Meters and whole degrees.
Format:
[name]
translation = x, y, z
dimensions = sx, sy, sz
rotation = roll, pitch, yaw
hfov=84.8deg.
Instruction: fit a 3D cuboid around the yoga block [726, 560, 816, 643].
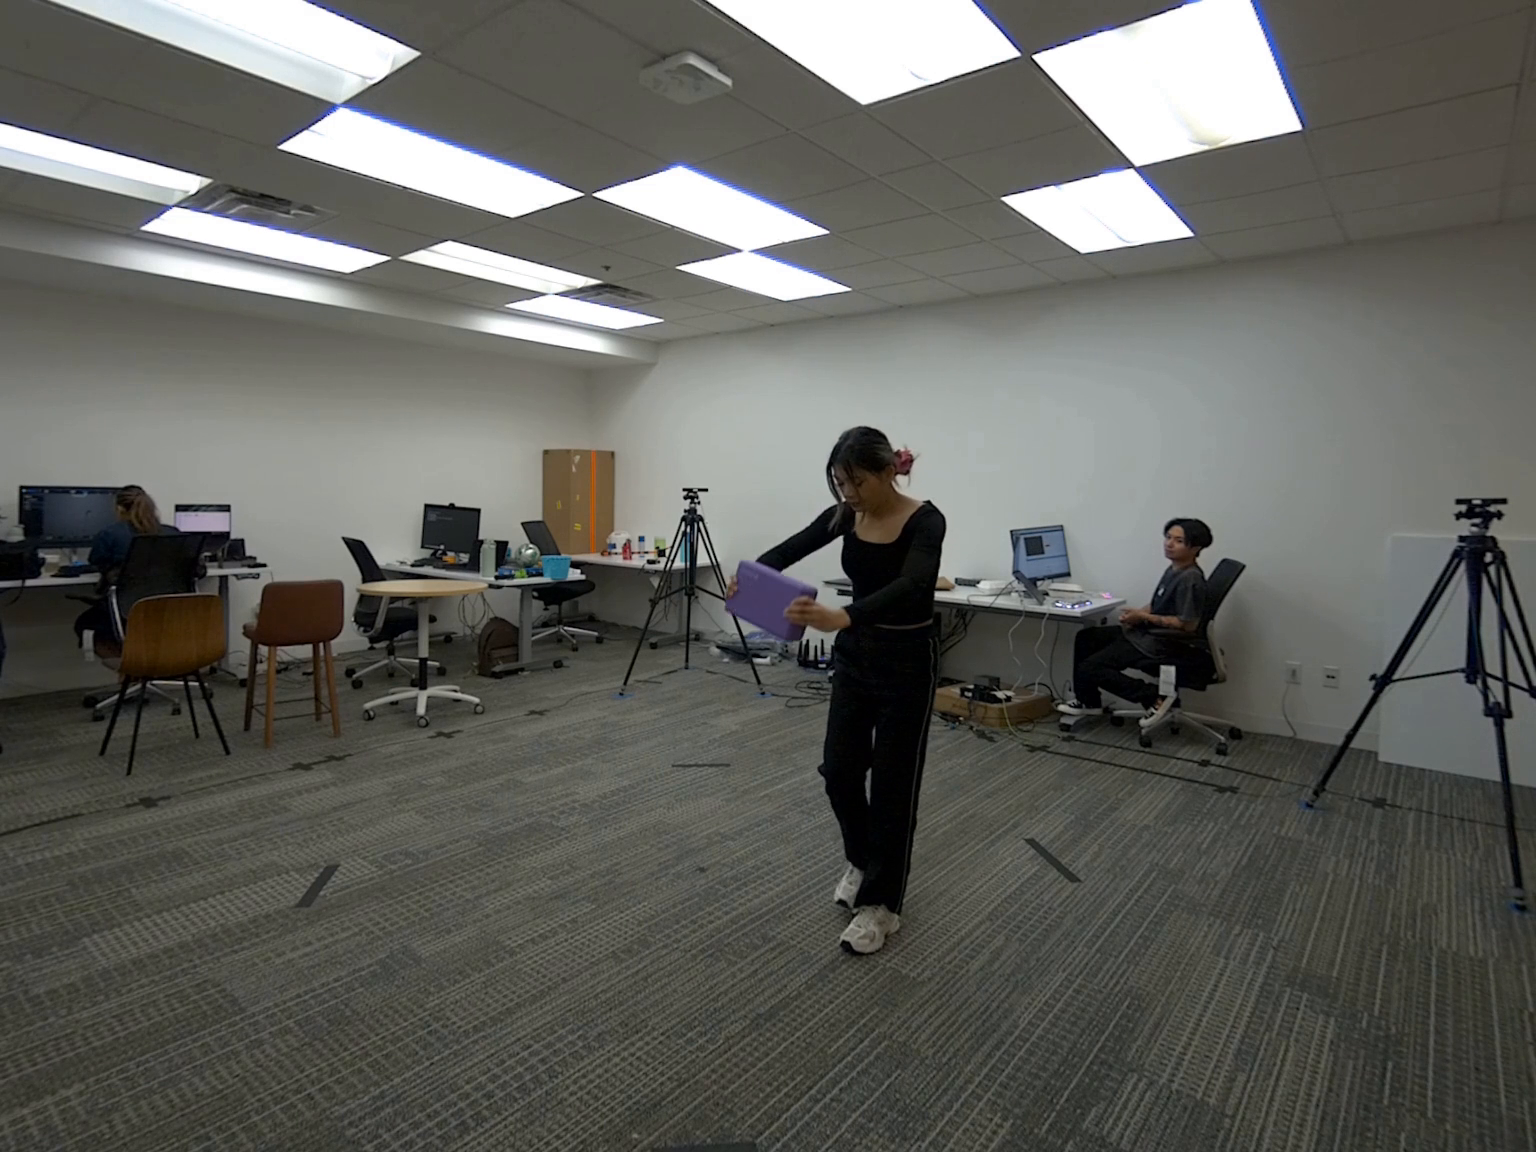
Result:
[yoga block]
translation = 0.010, 0.064, 2.251
dimensions = 0.239, 0.148, 0.073
rotation = 27, 8, 41
